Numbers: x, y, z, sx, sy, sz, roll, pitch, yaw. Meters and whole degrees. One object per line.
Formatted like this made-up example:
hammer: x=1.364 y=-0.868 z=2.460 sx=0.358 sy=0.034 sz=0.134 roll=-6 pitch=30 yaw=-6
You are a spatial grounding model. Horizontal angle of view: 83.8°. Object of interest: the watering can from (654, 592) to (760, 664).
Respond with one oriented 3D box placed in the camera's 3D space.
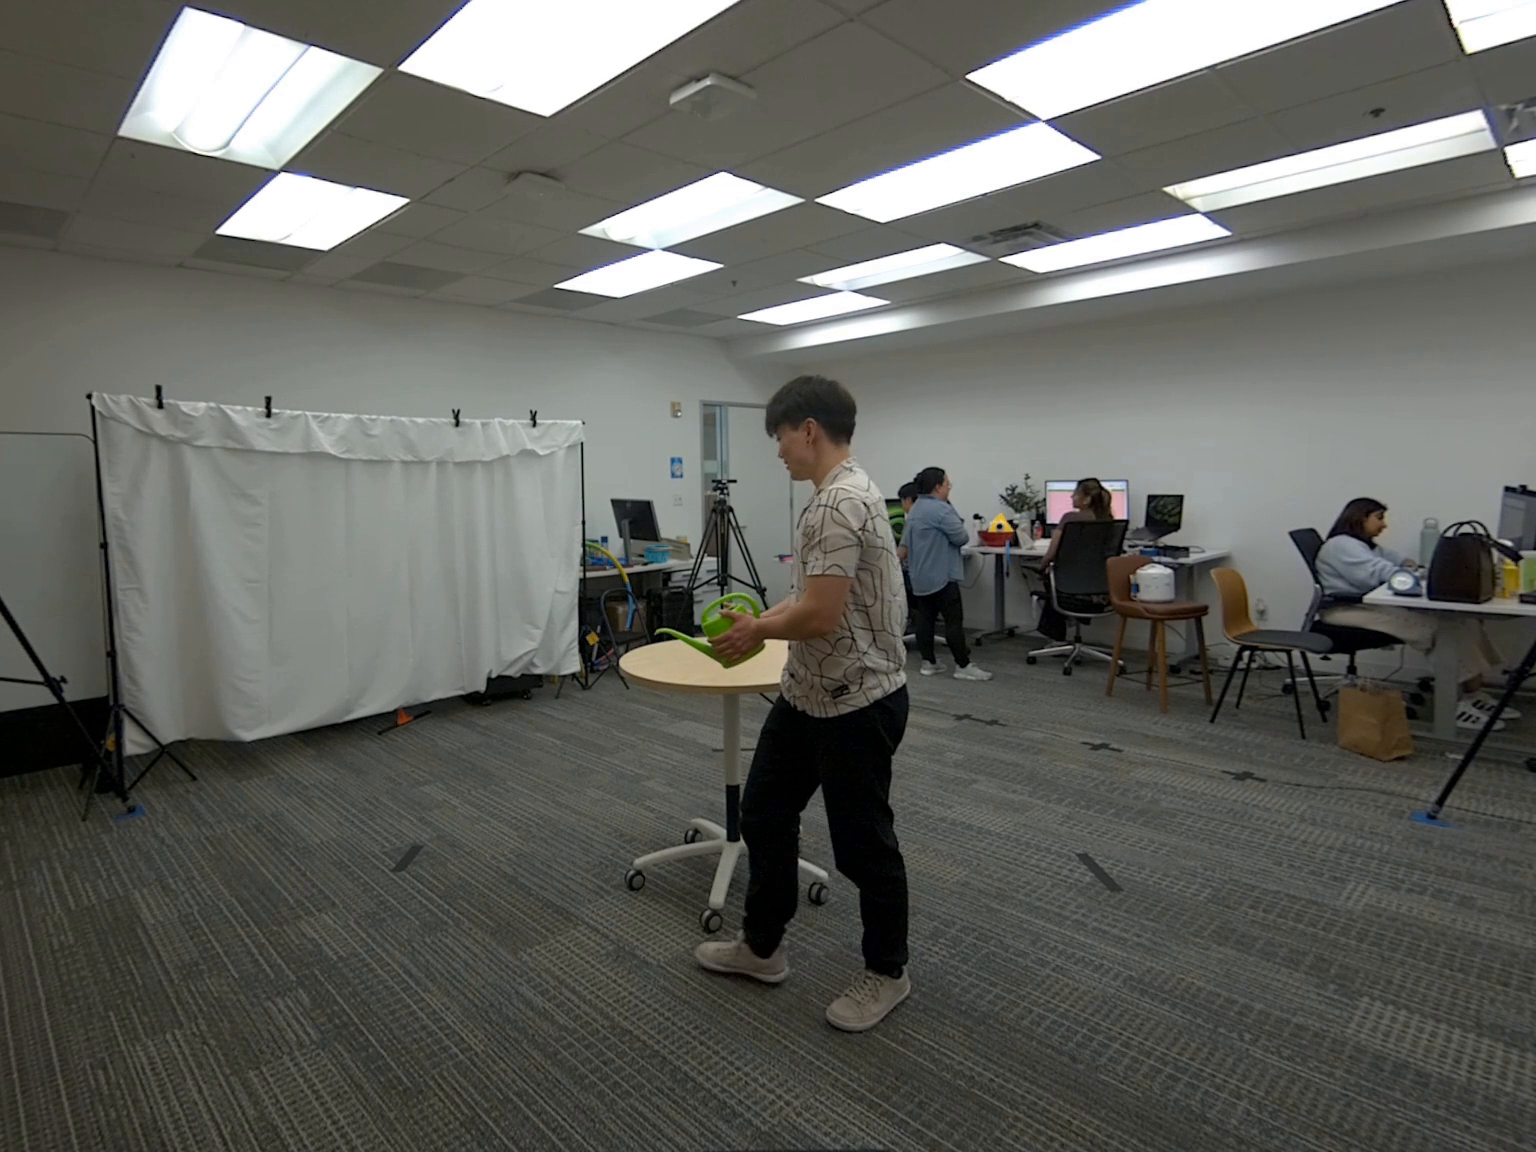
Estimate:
watering can: x=-0.139 y=0.161 z=2.301 sx=0.280 sy=0.177 sz=0.097 roll=-26 pitch=2 yaw=19
